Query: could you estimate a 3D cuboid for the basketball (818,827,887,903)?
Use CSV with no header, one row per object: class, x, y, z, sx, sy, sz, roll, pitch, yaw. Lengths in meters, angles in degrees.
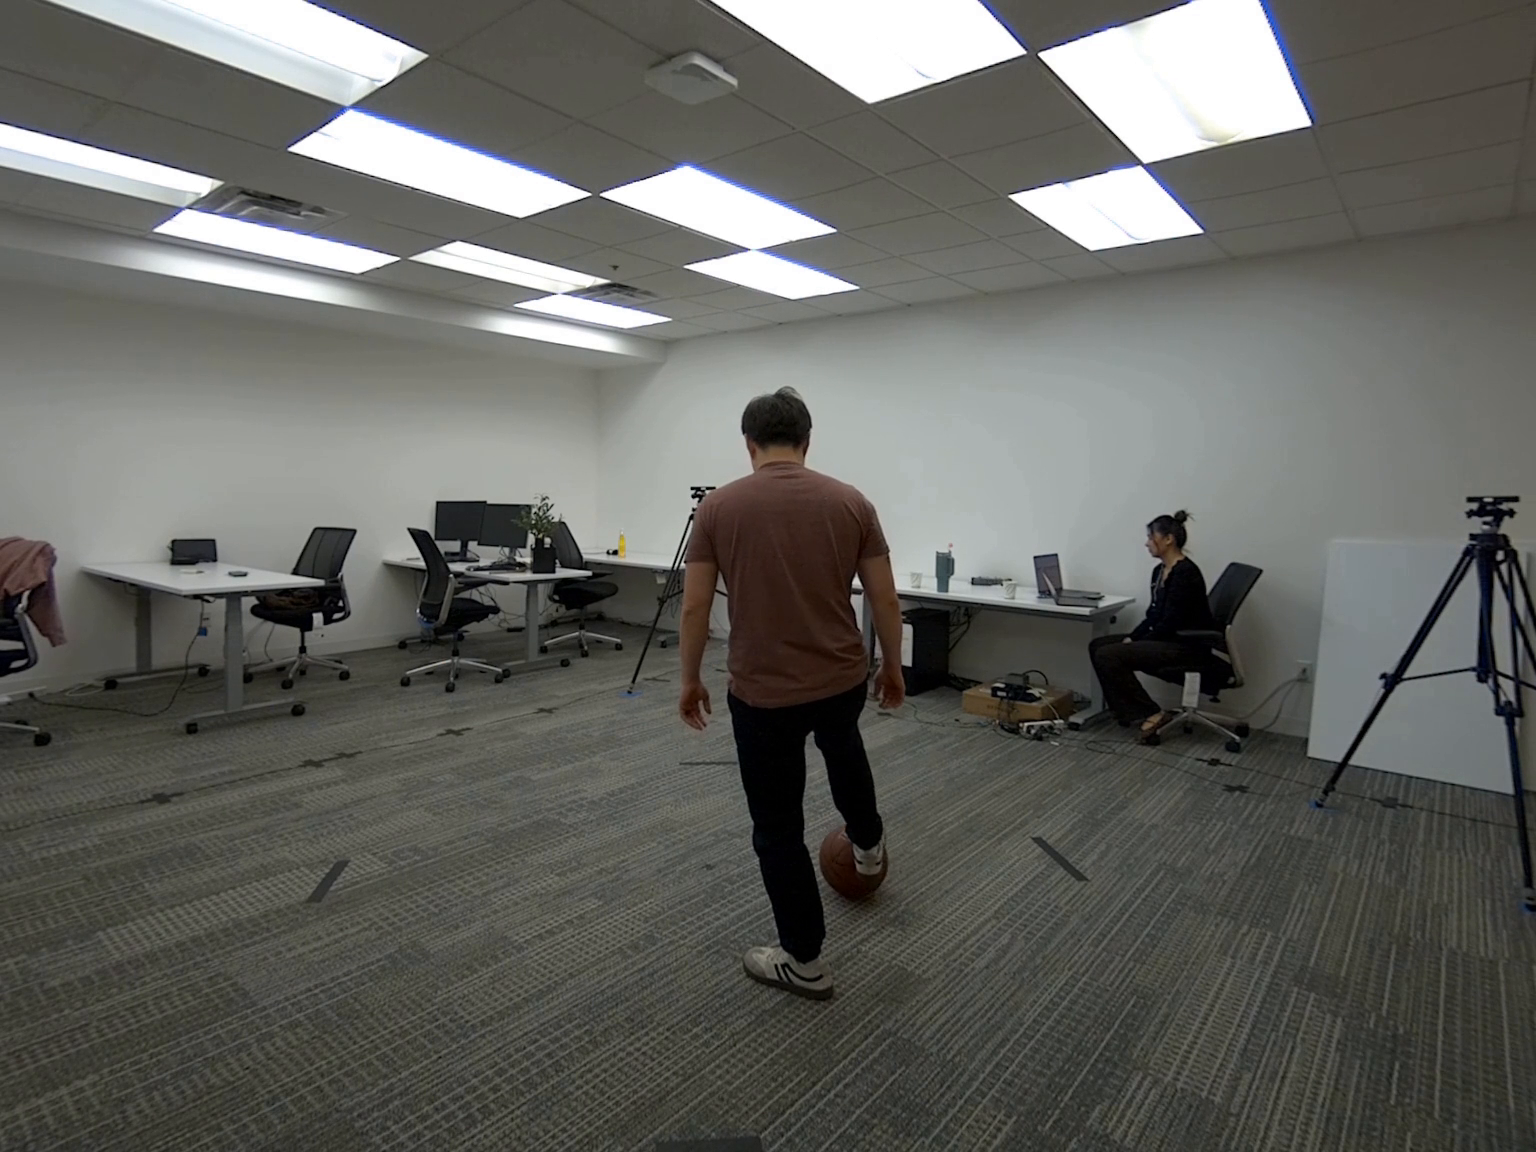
basketball,0.286,0.978,2.933,0.235,0.235,0.237,1,4,-2
